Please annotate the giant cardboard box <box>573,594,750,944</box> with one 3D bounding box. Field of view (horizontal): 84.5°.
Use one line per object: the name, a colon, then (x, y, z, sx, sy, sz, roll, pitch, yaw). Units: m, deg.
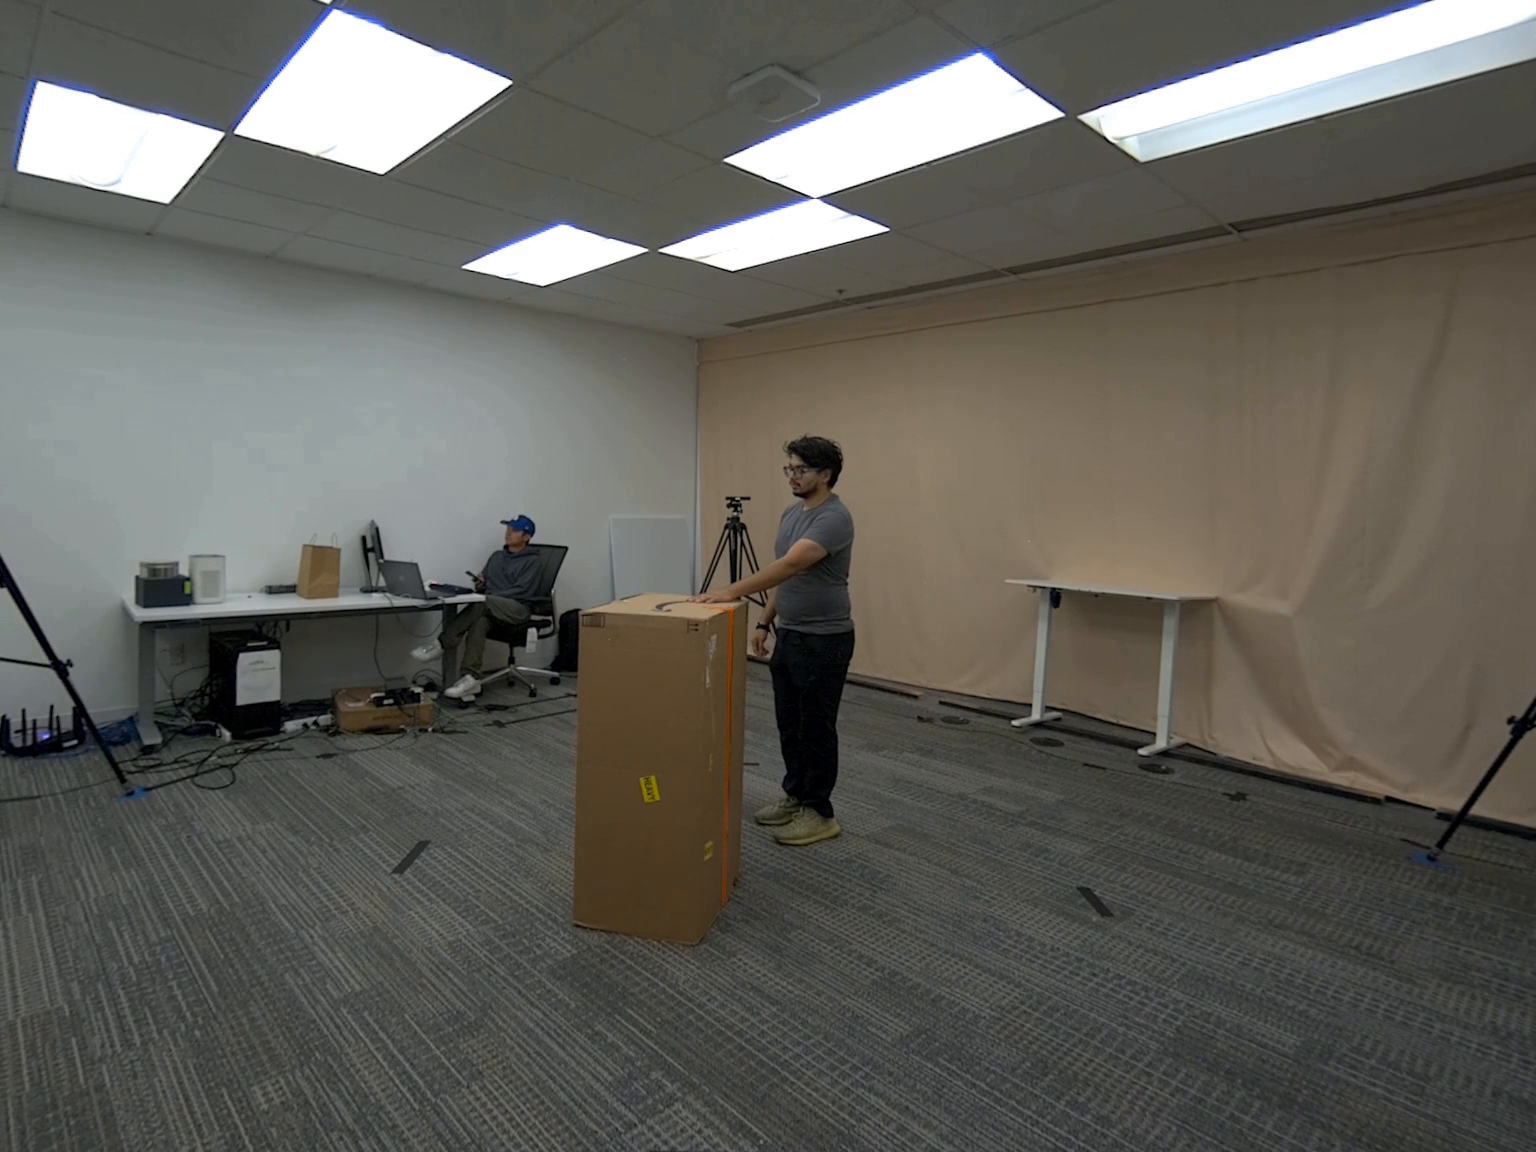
giant cardboard box: (-0.351, 0.608, 2.910, 0.431, 1.024, 0.572, 2, 3, 13)
